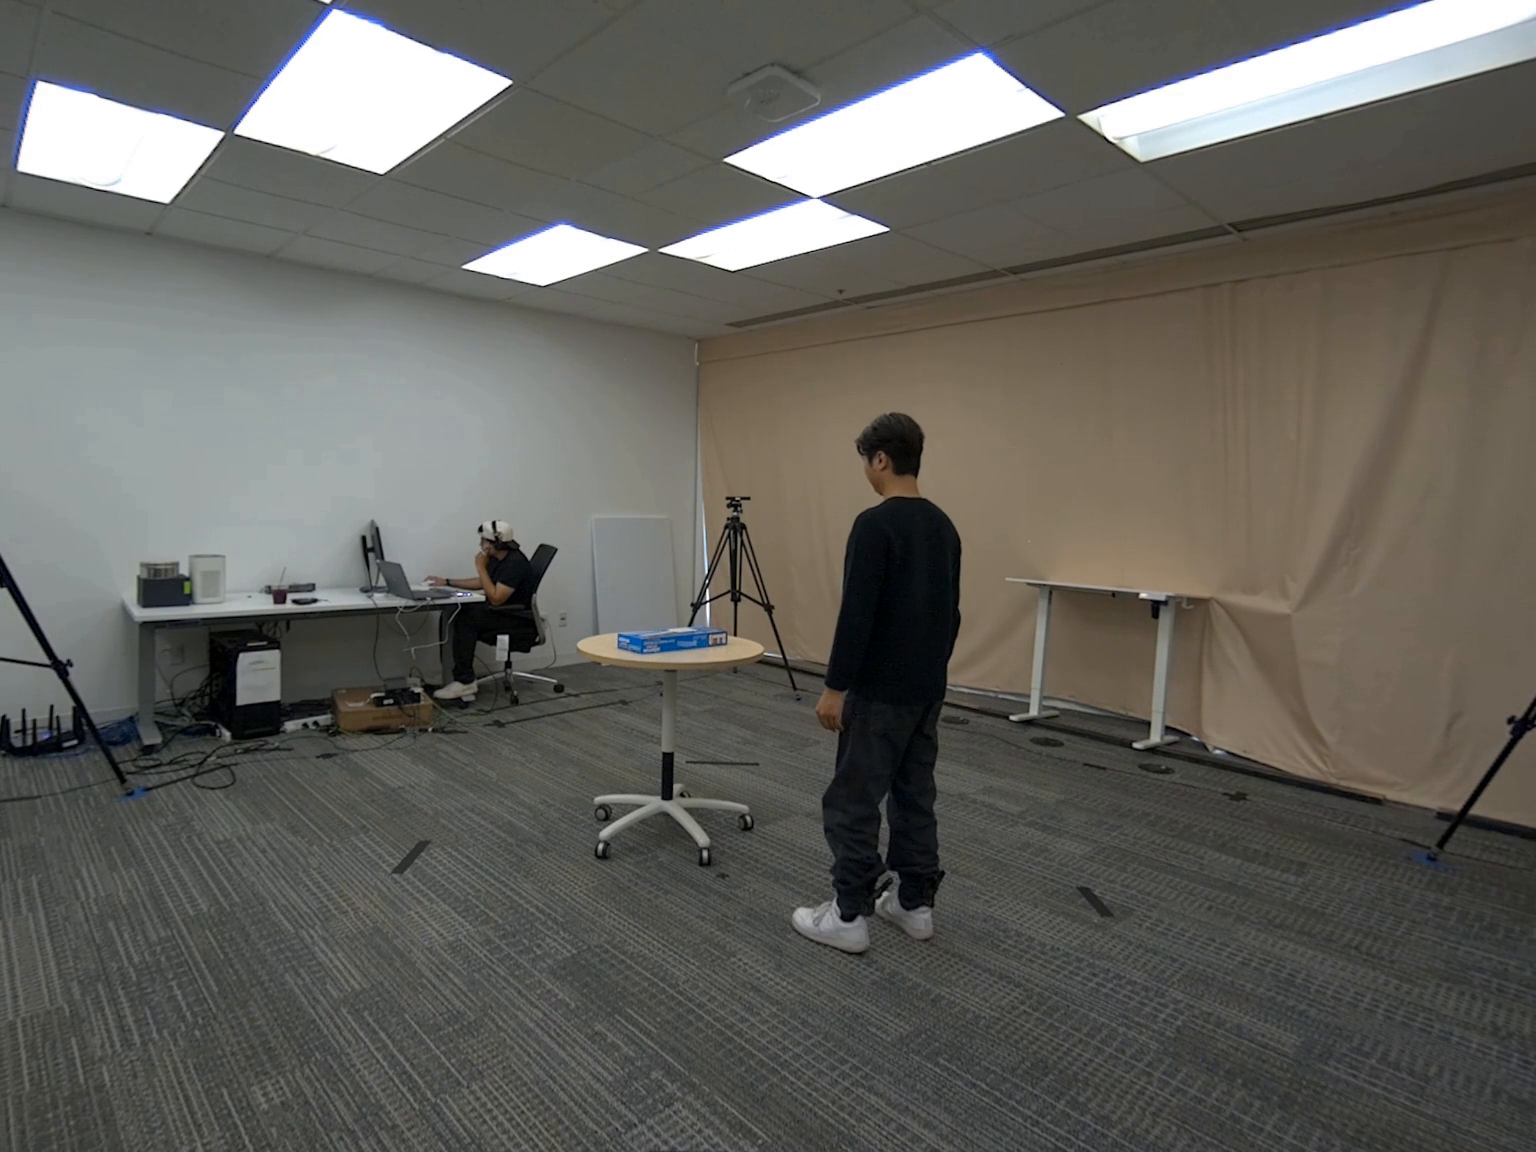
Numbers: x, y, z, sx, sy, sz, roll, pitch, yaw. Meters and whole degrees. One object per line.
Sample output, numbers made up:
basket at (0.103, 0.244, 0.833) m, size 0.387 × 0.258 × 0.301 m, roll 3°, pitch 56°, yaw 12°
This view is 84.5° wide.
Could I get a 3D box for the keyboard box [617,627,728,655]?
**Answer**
keyboard box at (-0.390, 0.258, 3.436) m, size 0.427 × 0.059 × 0.180 m, roll -2°, pitch 6°, yaw -43°
